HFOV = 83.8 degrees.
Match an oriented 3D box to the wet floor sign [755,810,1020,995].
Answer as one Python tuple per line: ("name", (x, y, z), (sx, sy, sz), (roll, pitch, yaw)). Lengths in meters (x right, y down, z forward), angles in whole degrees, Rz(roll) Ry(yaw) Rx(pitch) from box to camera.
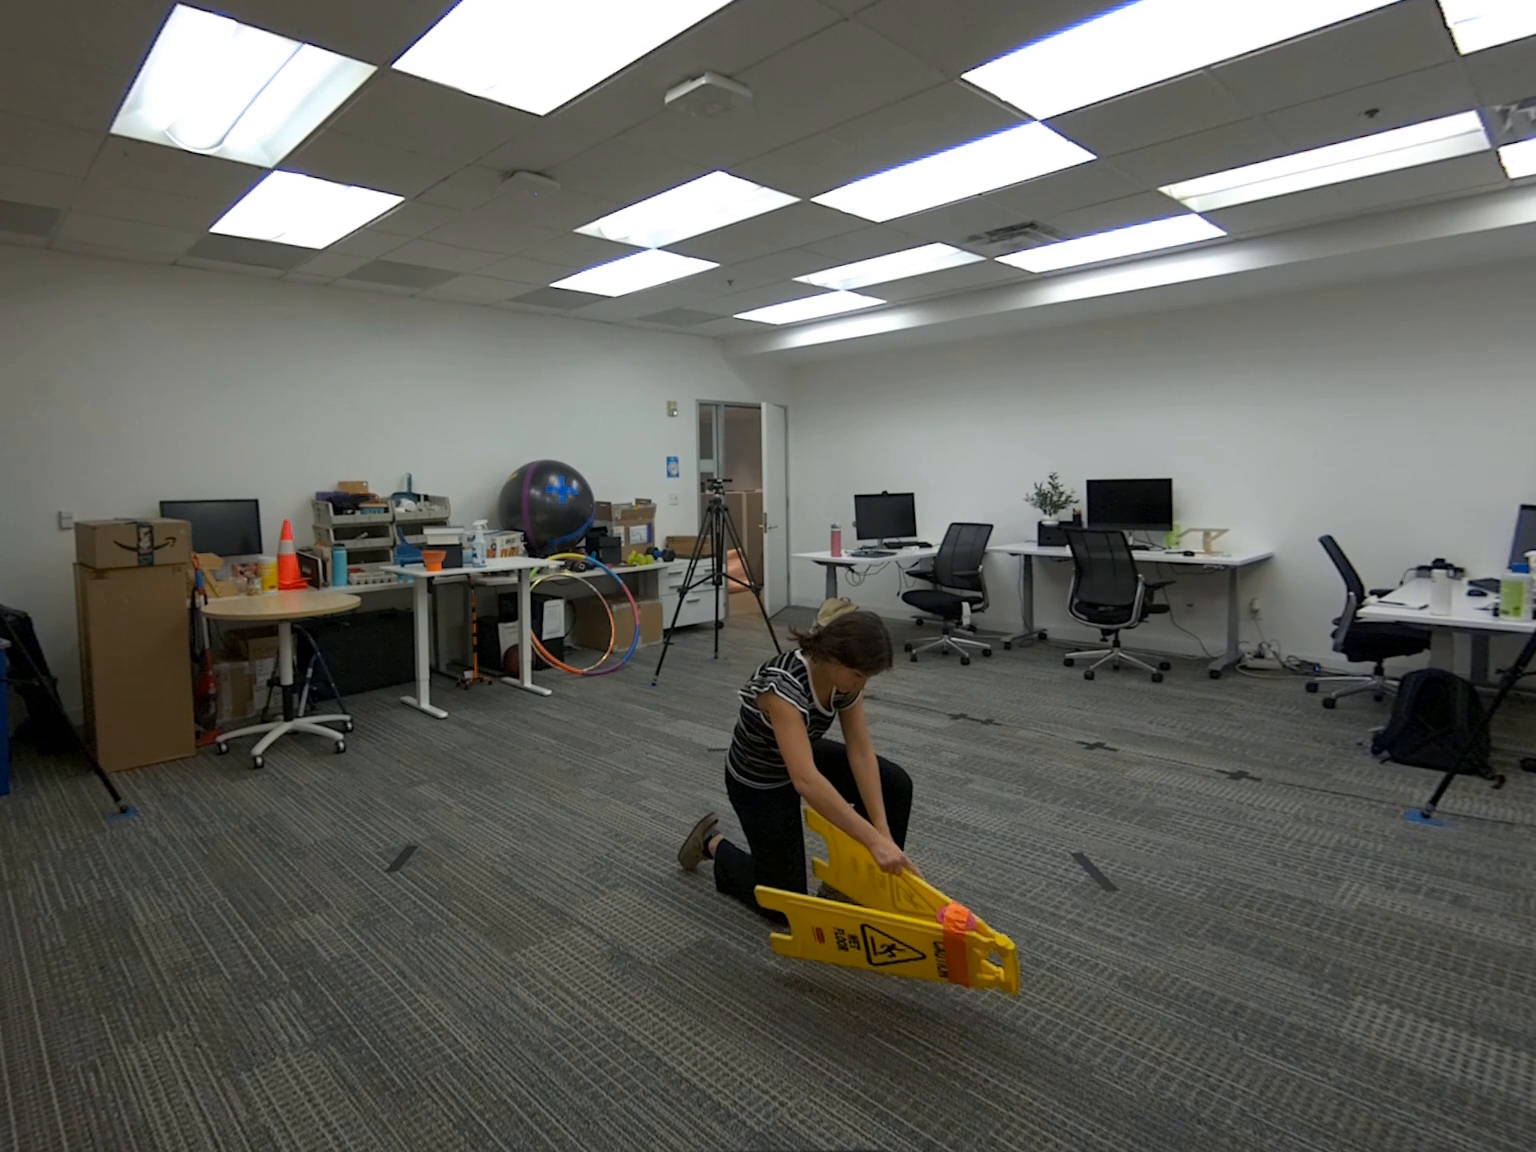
("wet floor sign", (0.336, 0.916, 2.237), (0.666, 0.275, 0.289), (10, 36, 33))
